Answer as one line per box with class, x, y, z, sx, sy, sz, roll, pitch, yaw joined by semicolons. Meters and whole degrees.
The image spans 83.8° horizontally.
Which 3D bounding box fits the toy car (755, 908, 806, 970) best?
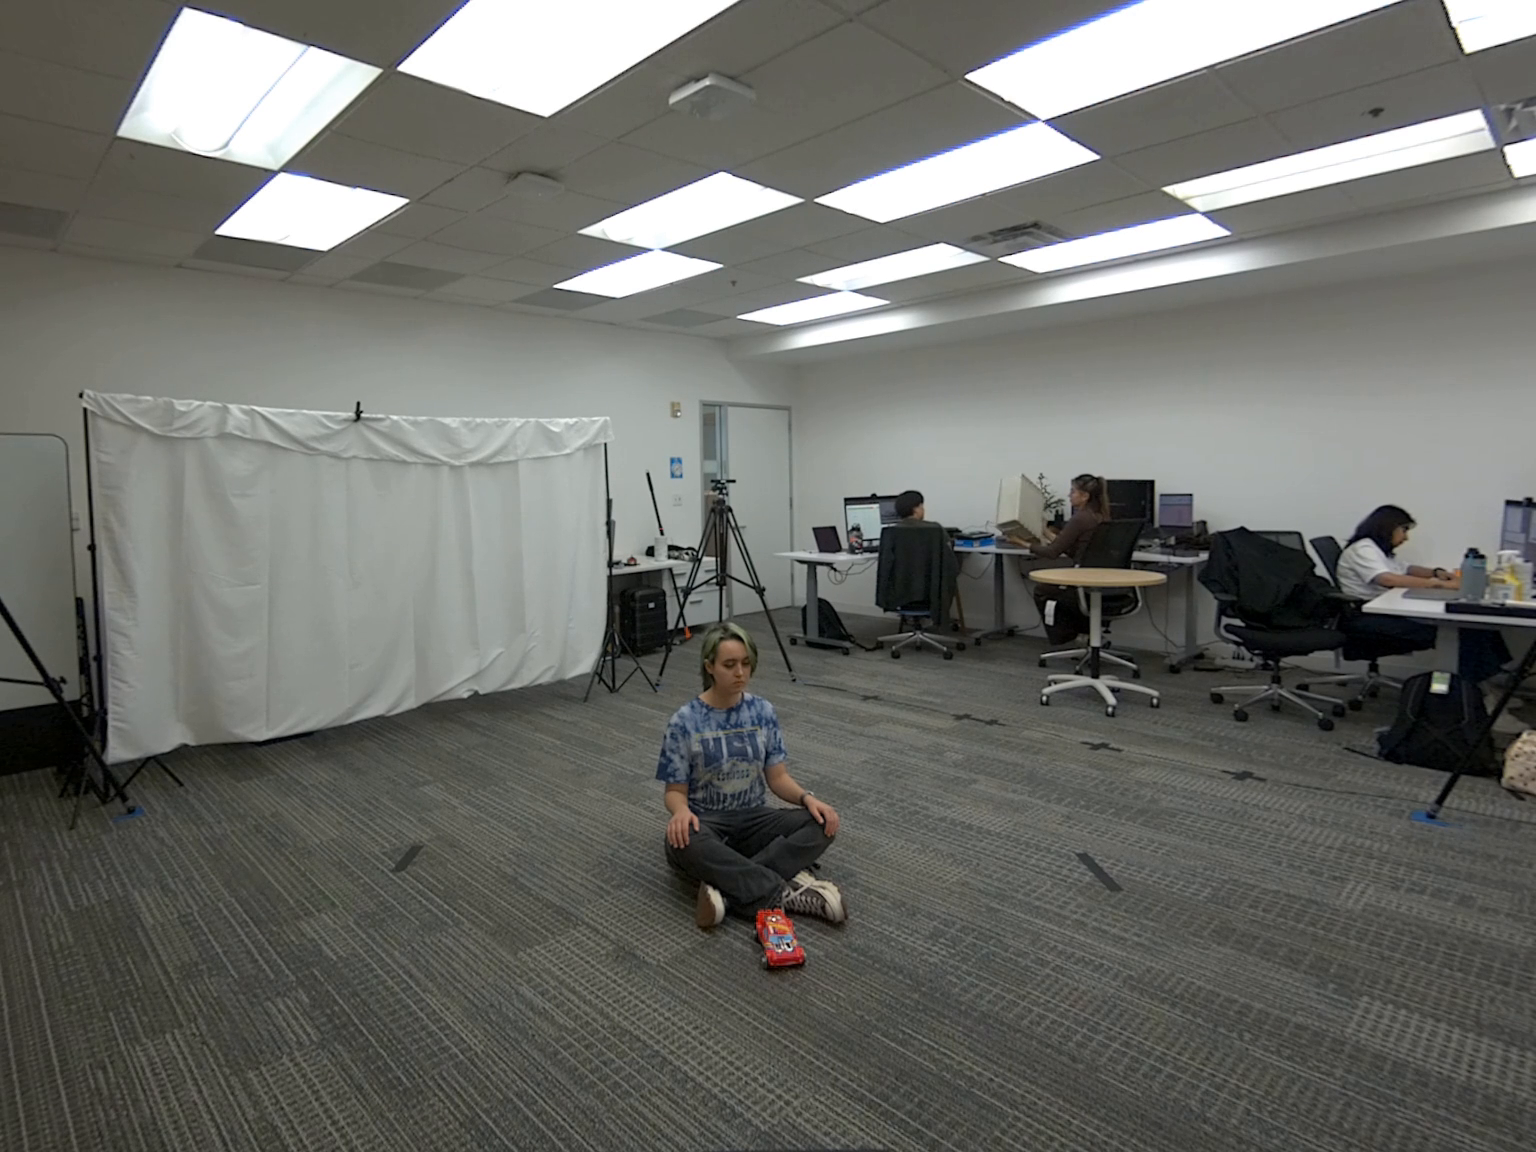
toy car;0.027;1.083;2.541;0.129;0.082;0.260;-4;18;-9
